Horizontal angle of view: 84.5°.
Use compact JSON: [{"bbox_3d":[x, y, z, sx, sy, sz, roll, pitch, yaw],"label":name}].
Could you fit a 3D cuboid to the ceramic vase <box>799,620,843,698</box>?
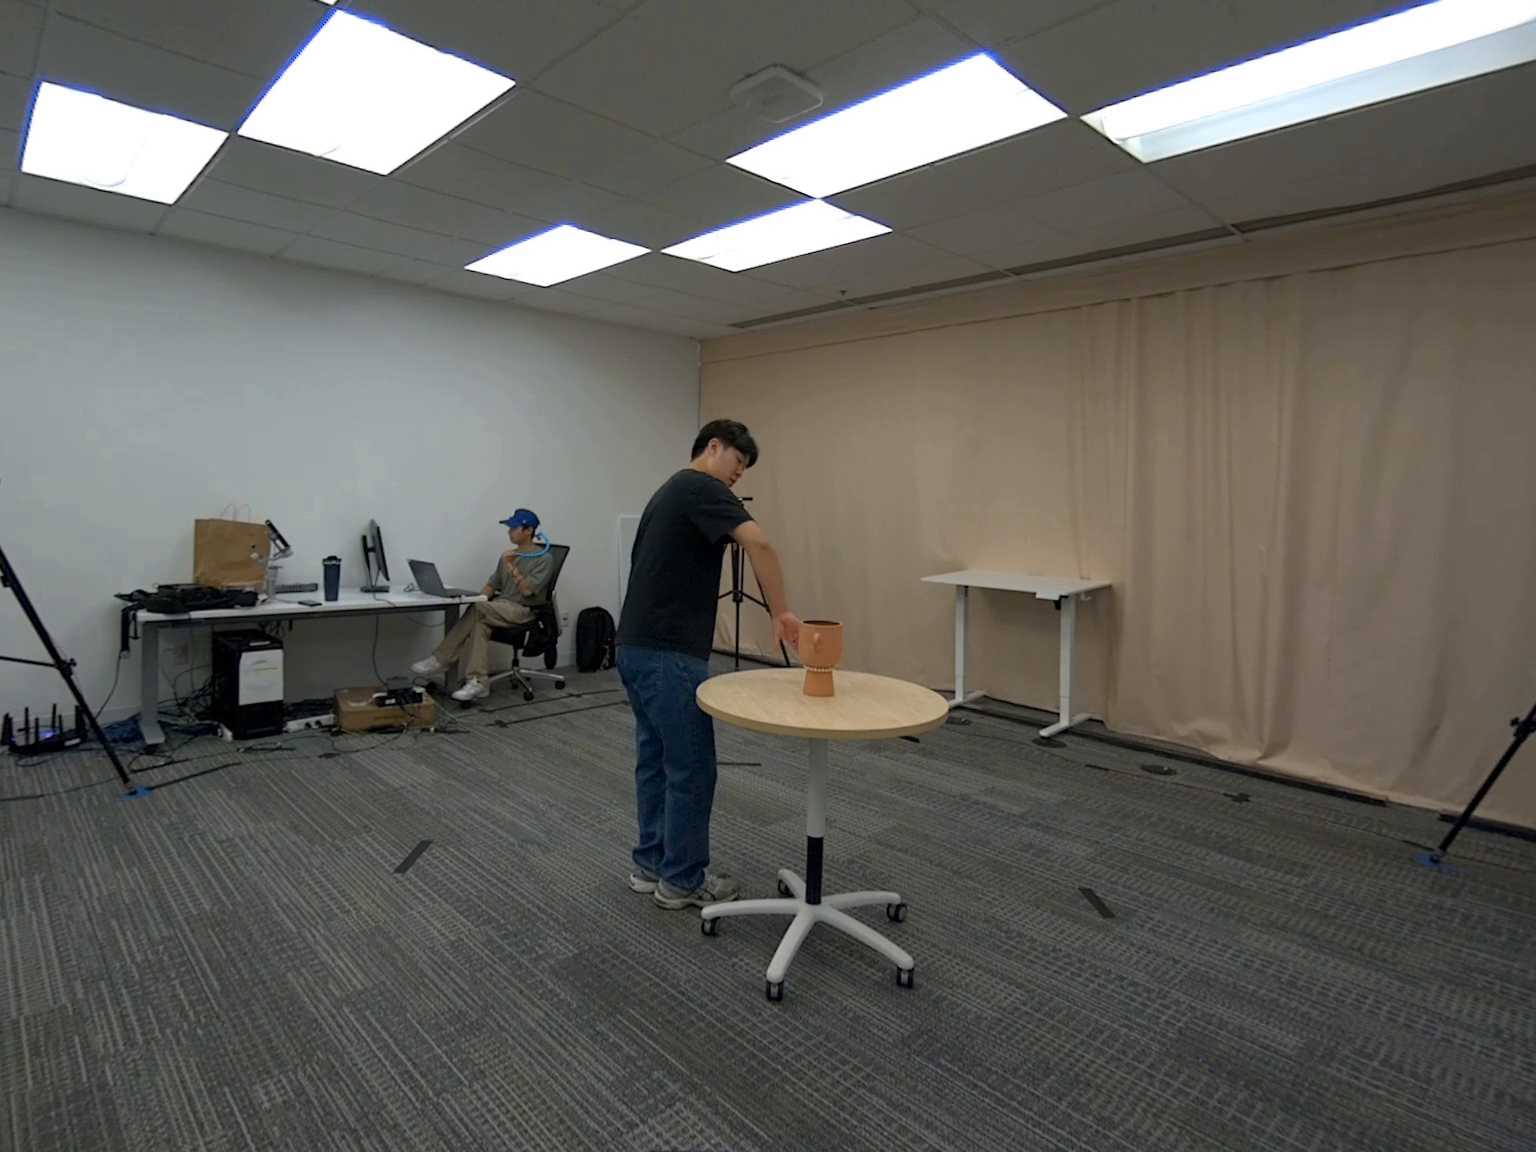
[{"bbox_3d":[0.154,0.255,2.595,0.155,0.219,0.138,-3,6,-36],"label":"ceramic vase"}]
